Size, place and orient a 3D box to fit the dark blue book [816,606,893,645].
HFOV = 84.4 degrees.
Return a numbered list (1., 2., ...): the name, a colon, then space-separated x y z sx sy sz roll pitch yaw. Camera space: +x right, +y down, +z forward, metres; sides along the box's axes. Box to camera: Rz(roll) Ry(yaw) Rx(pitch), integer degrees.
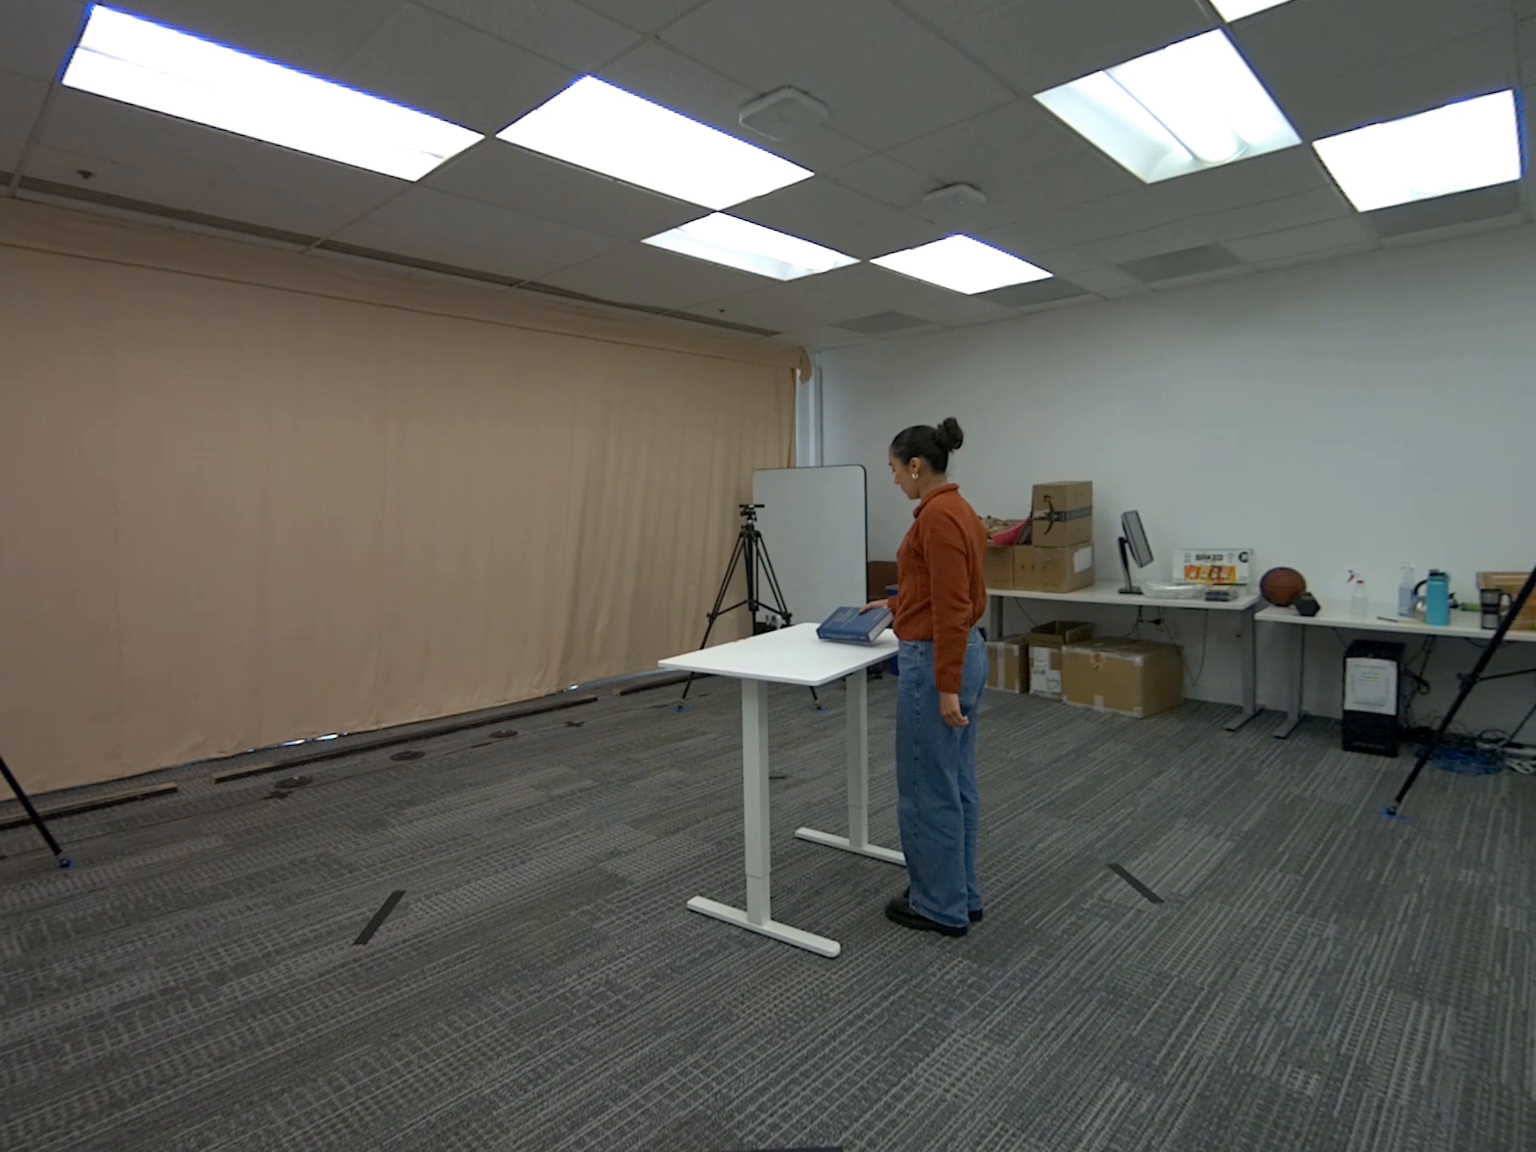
1. dark blue book: 0.309 0.179 3.070 0.161 0.044 0.253 -36 24 -33
